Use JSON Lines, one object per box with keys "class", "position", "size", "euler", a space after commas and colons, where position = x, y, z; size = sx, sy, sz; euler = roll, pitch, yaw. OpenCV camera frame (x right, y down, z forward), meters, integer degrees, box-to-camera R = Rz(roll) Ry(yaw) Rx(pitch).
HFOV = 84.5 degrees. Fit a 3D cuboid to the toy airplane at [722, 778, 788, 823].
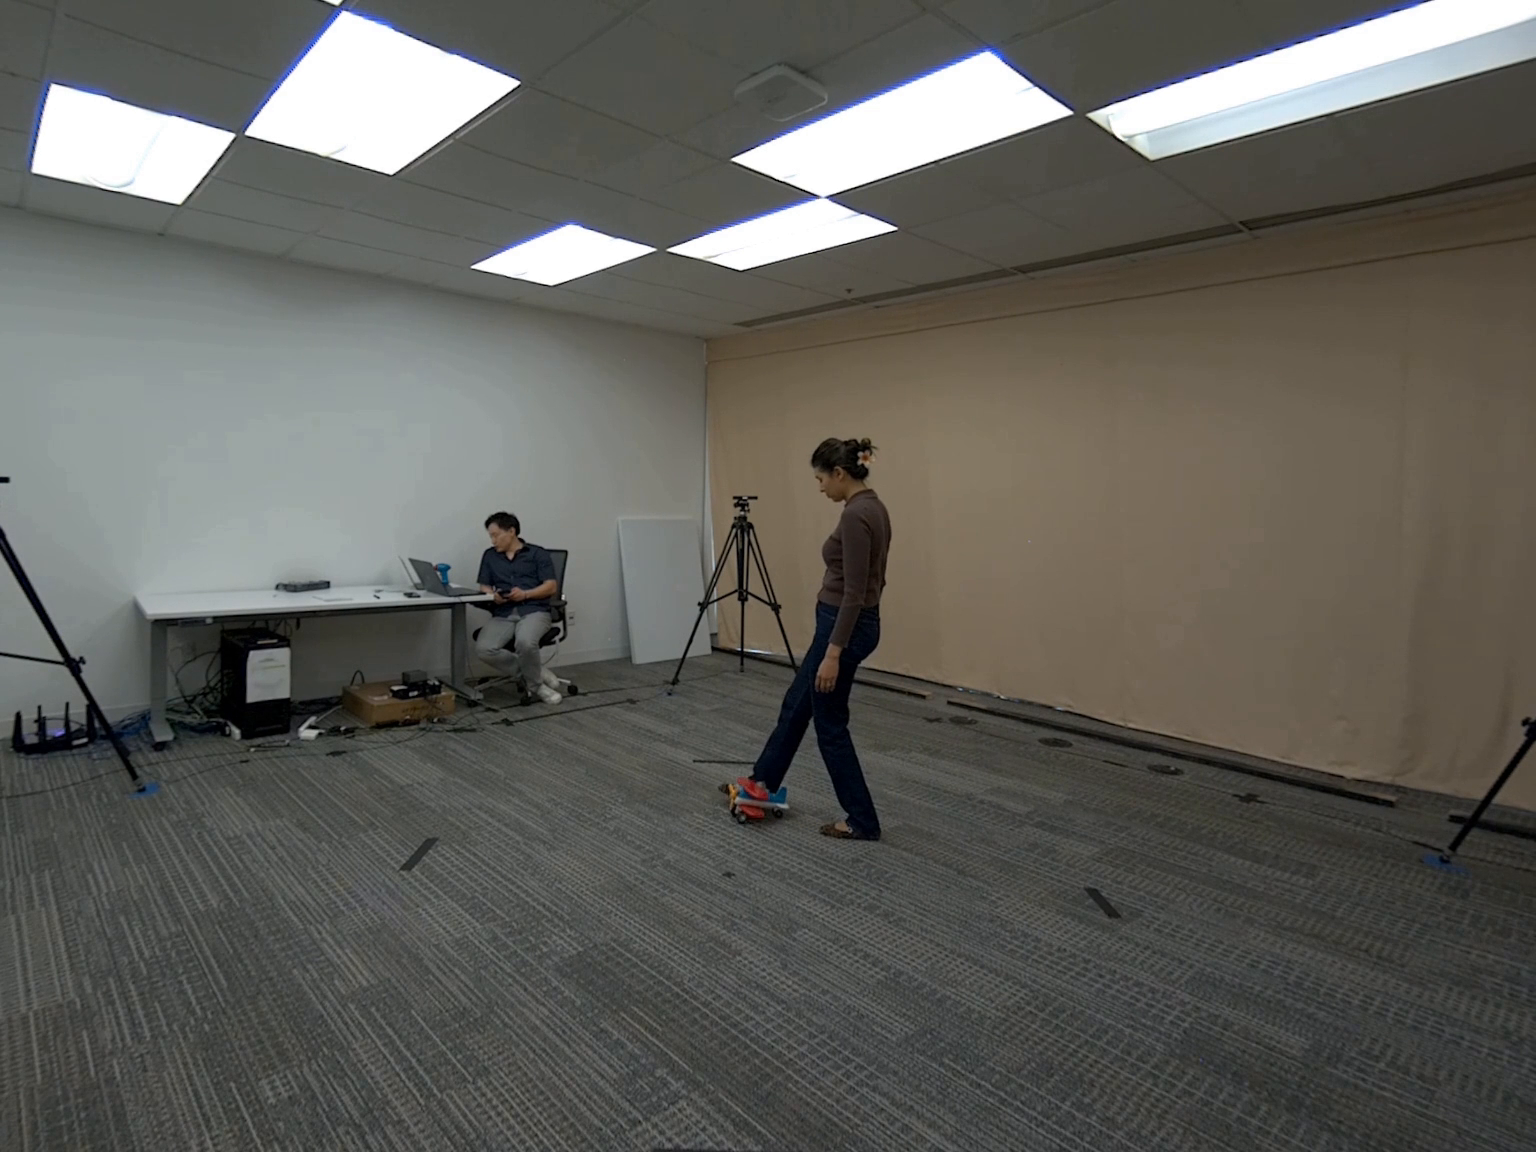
{"class": "toy airplane", "position": [-0.054, 0.979, 3.684], "size": [0.257, 0.156, 0.253], "euler": [5, 6, 44]}
